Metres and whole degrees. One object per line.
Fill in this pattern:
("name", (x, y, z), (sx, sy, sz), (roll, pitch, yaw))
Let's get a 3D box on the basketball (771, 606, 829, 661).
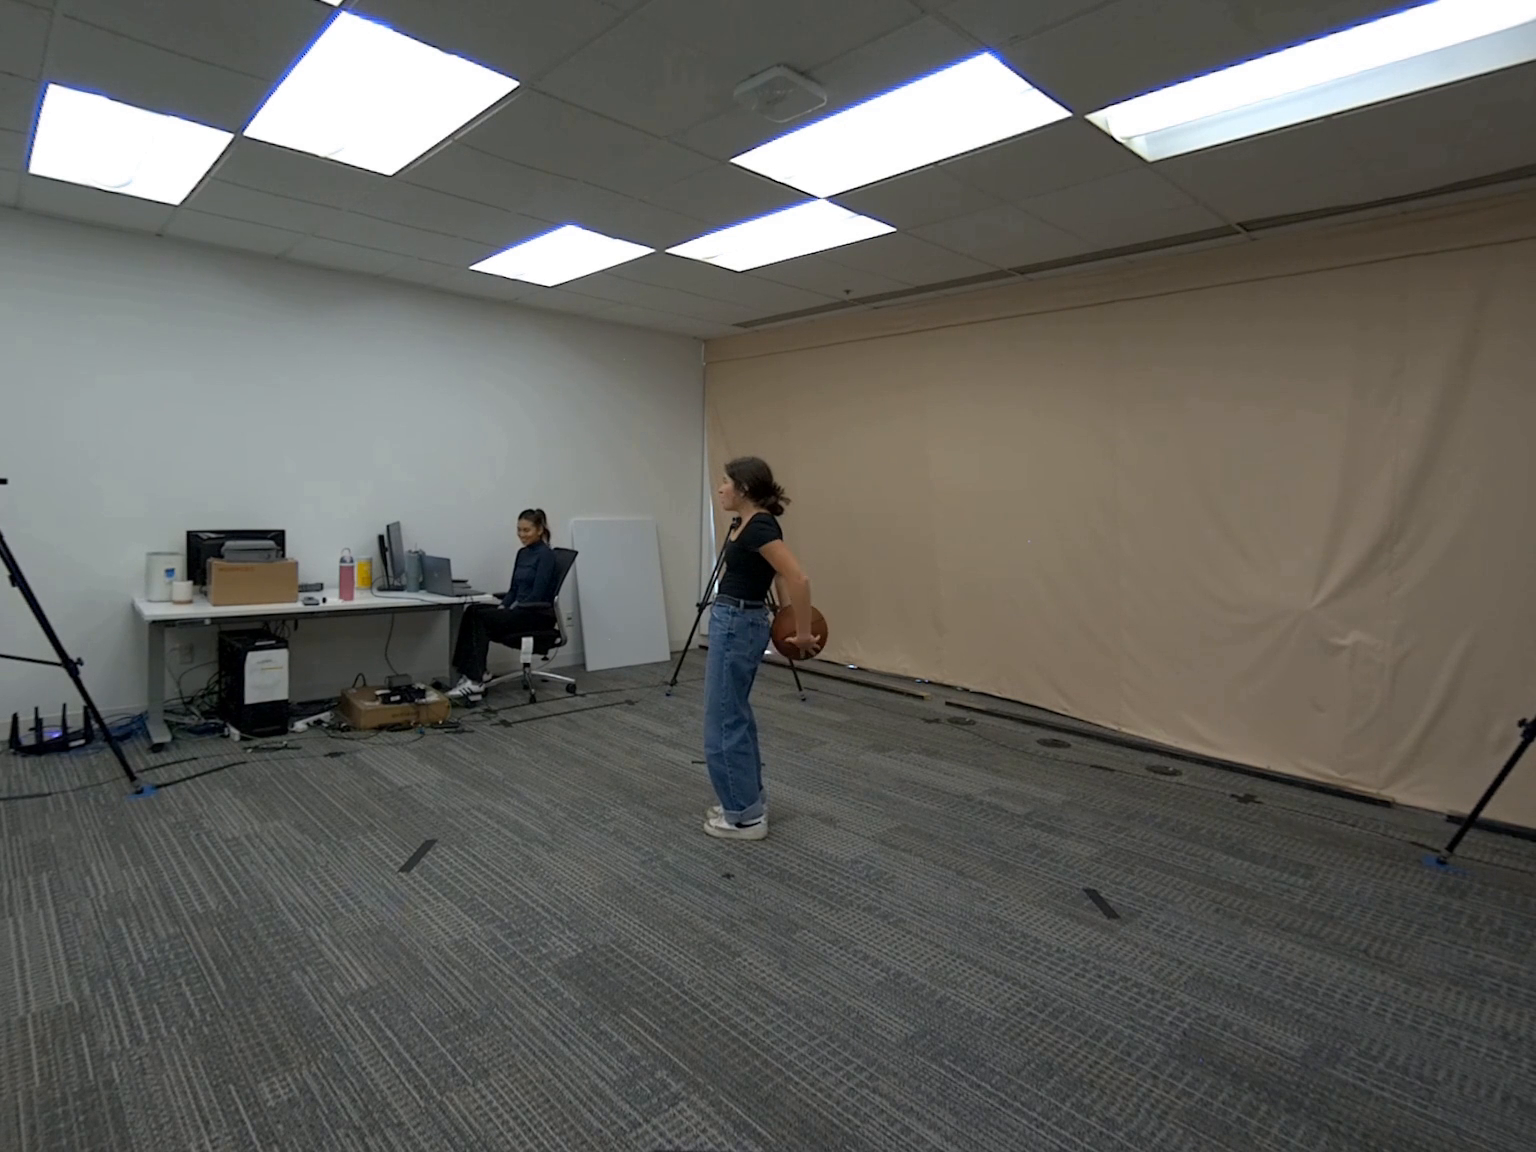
("basketball", (0.105, 0.212, 3.494), (0.236, 0.235, 0.237), (1, 4, -1))
